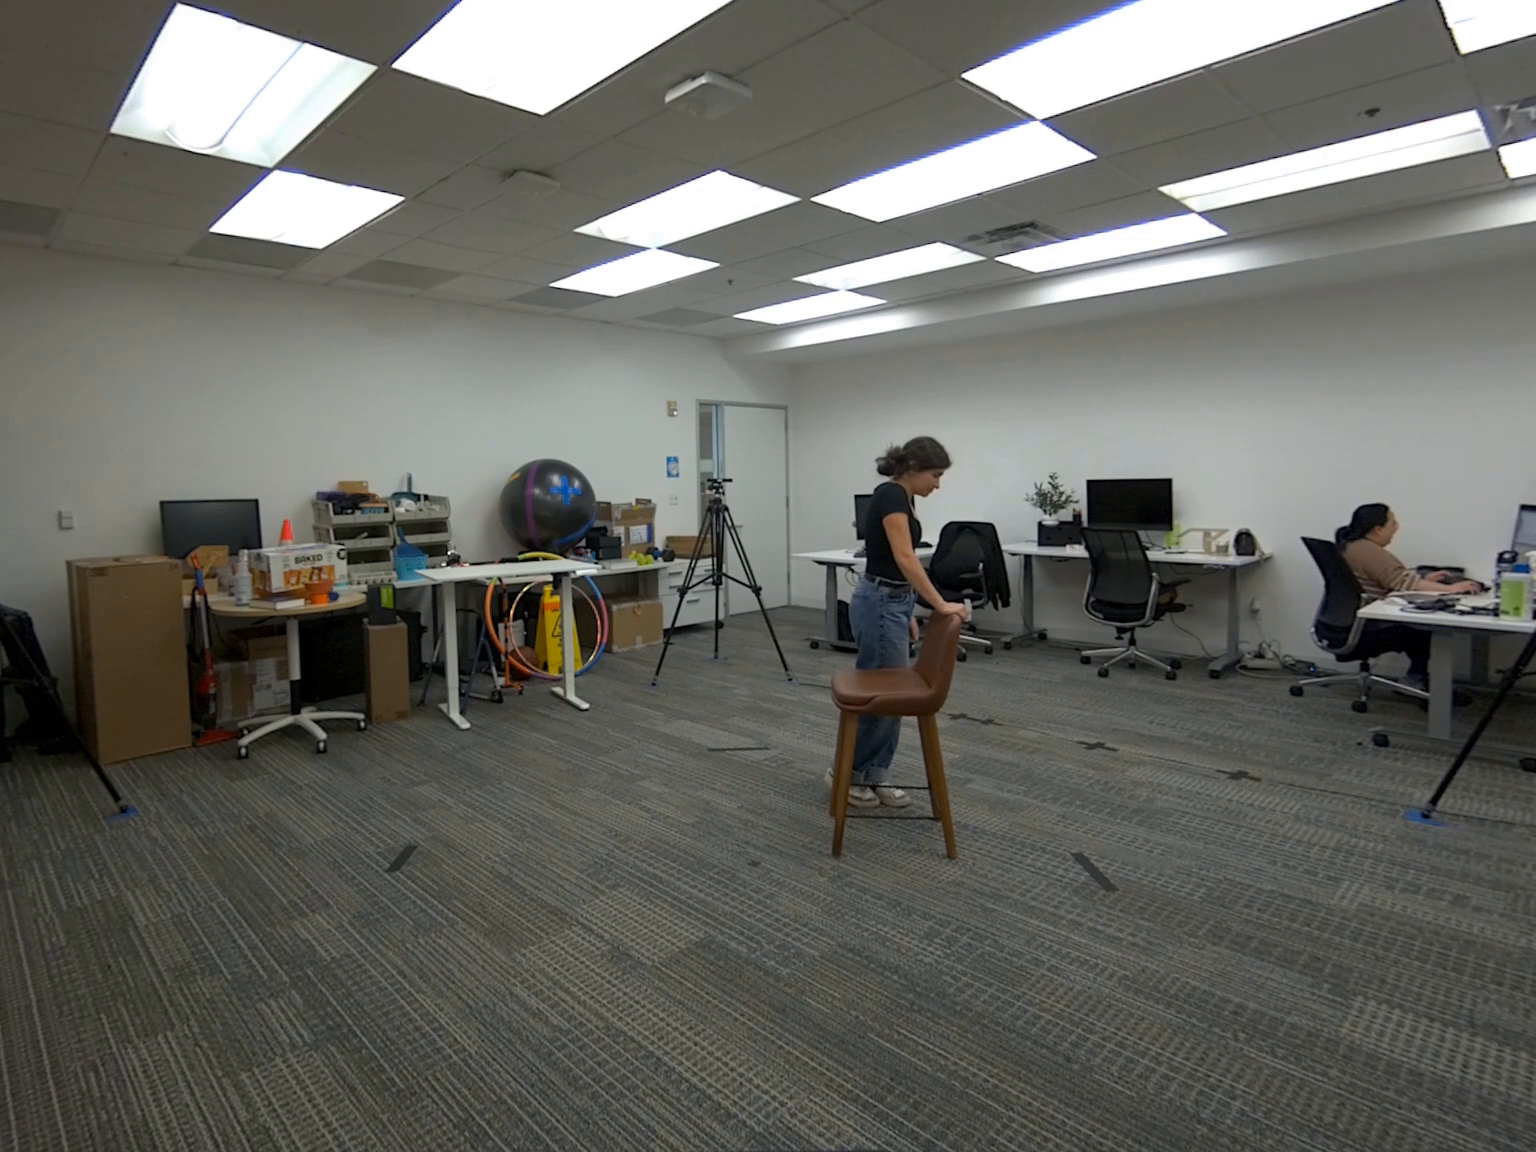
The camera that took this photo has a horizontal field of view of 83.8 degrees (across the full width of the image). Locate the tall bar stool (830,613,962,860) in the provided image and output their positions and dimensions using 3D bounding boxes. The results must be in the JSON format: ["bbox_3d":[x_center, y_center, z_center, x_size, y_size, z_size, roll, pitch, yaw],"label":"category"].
[{"bbox_3d":[0.479,0.580,3.294,0.470,0.887,0.456,1,3,4],"label":"tall bar stool"}]
